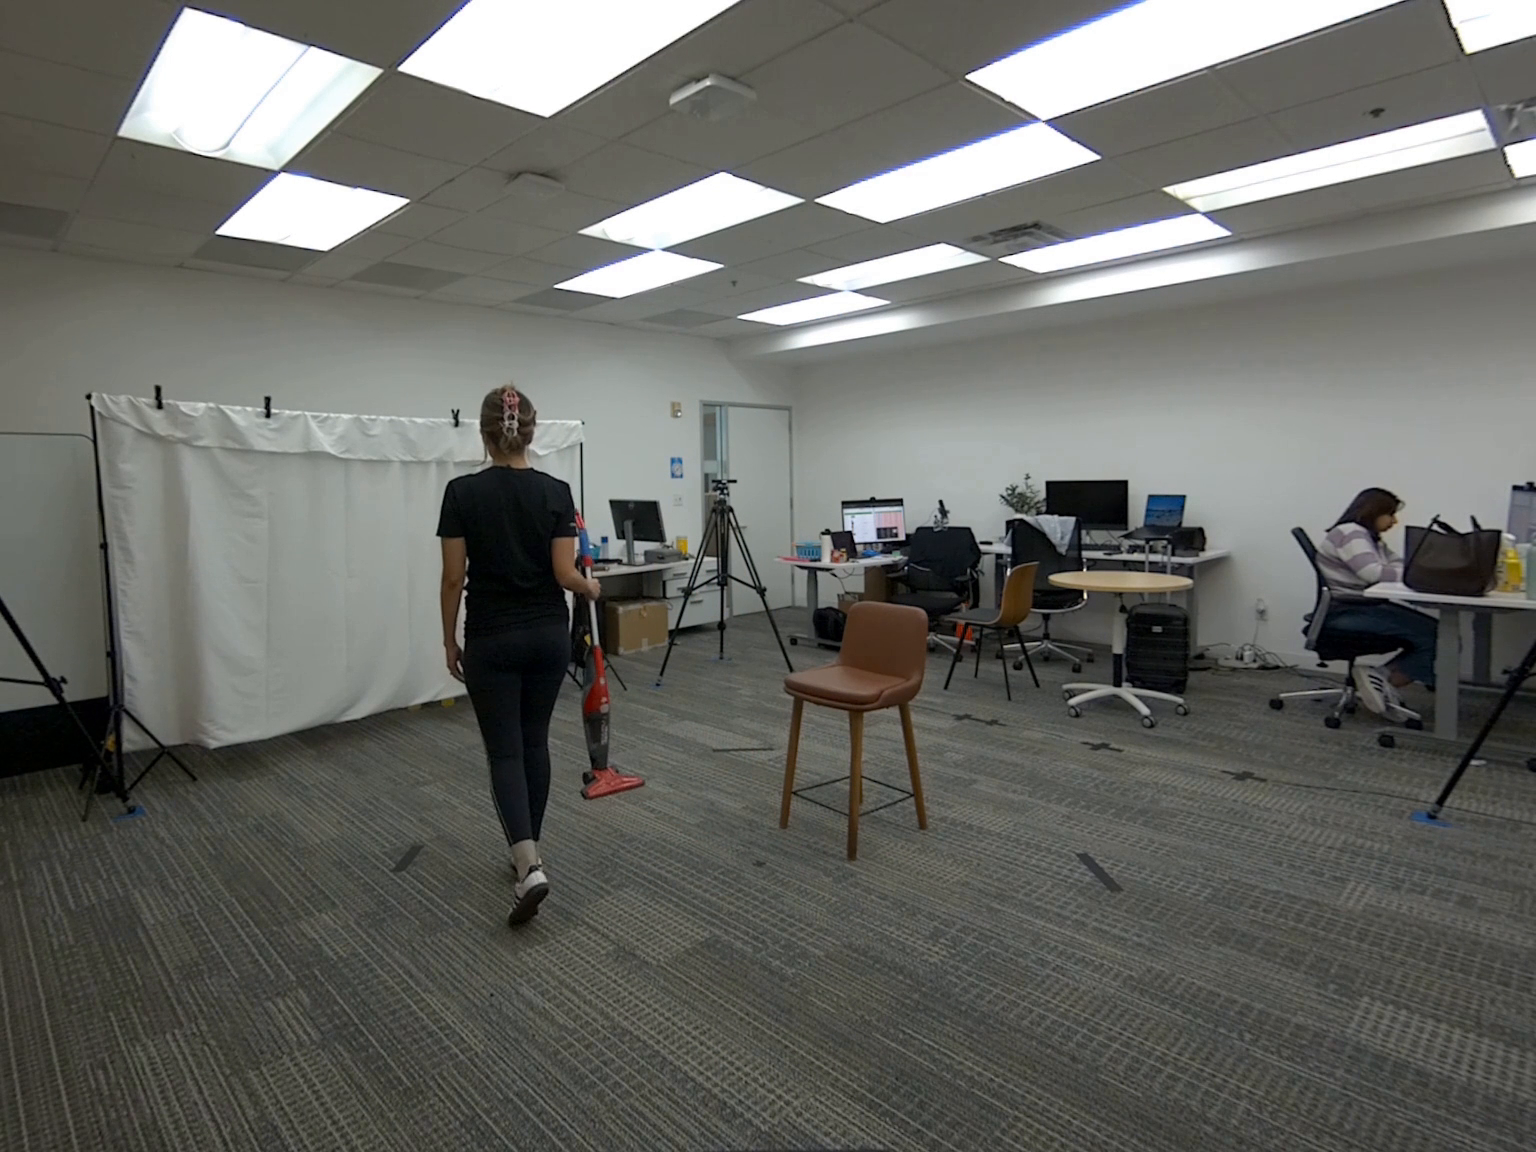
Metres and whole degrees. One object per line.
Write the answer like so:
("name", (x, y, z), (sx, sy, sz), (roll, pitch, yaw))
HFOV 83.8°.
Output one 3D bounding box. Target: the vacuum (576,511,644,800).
("vacuum", (-0.675, 0.266, 3.252), (0.147, 1.058, 0.245), (-16, -10, 41))
